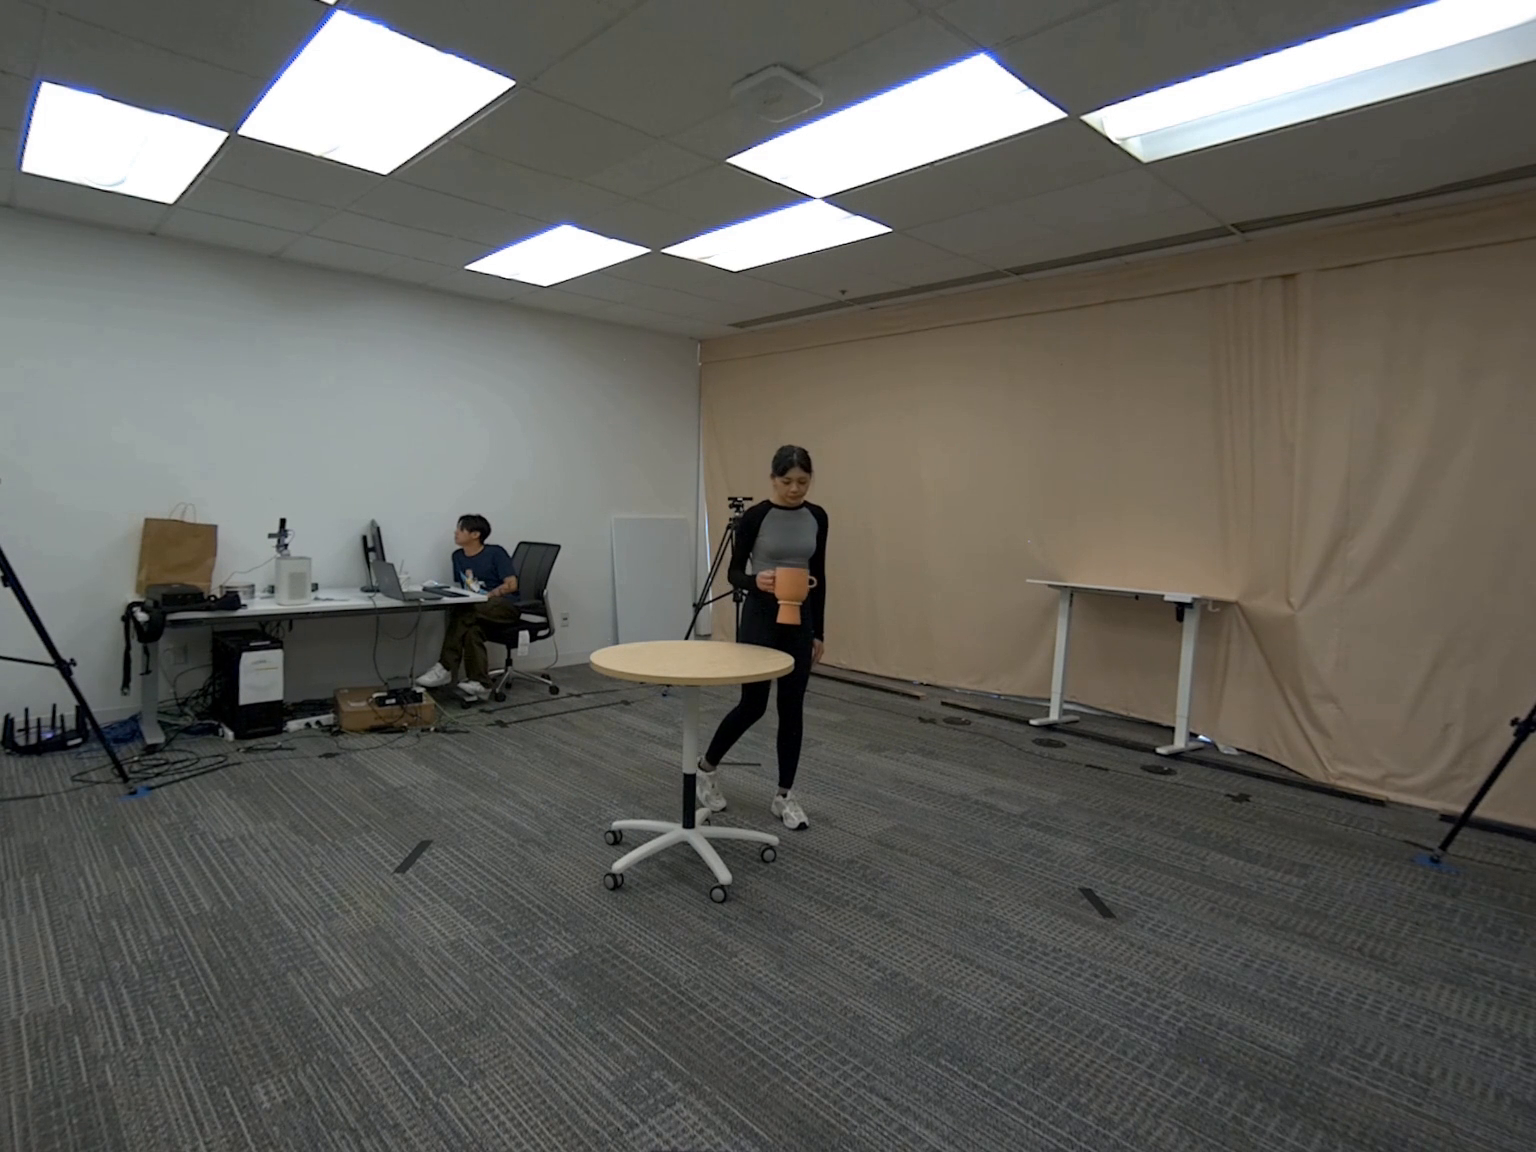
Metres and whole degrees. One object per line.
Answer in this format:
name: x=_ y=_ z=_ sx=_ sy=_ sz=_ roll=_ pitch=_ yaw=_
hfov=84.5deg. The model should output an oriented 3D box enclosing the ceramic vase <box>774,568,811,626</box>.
ceramic vase: x=0.091 y=0.083 z=3.371 sx=0.131 sy=0.220 sz=0.163 roll=9 pitch=-3 yaw=-42
